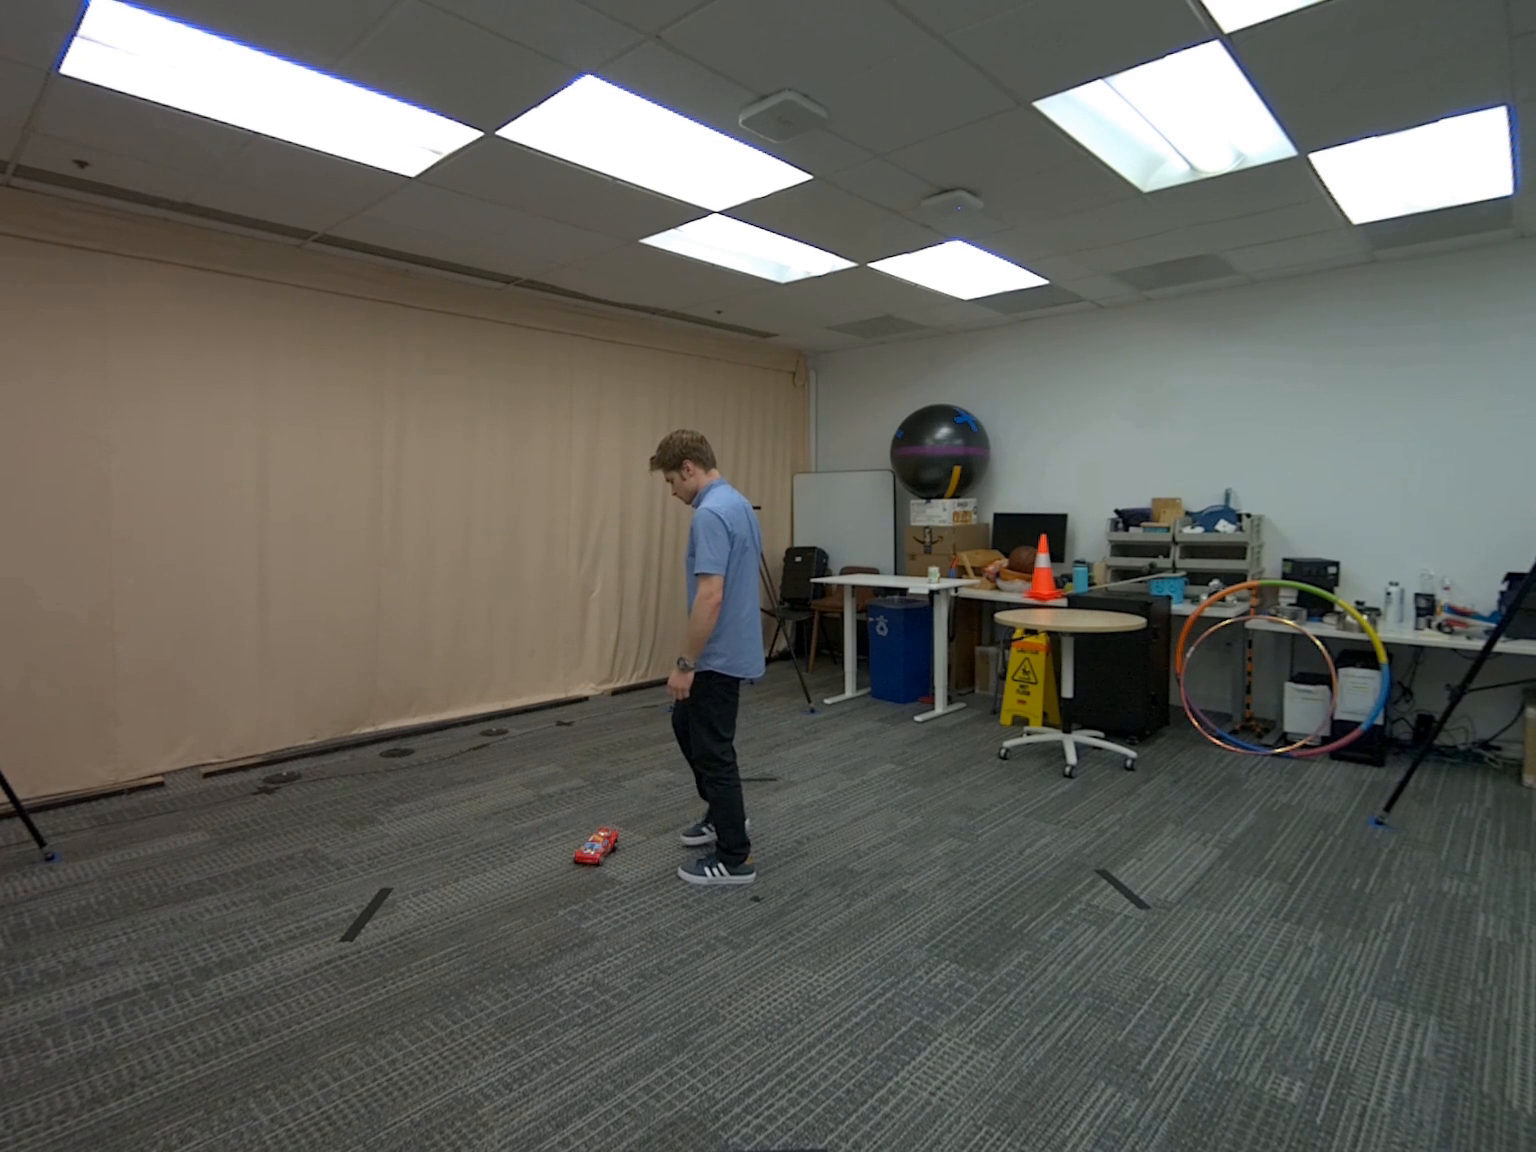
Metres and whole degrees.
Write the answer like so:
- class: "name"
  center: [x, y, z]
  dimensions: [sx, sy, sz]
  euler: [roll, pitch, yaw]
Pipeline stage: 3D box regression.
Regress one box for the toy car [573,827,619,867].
- class: "toy car"
  center: [-0.686, 1.088, 3.377]
  dimensions: [0.132, 0.082, 0.253]
  euler: [0, 15, 12]
